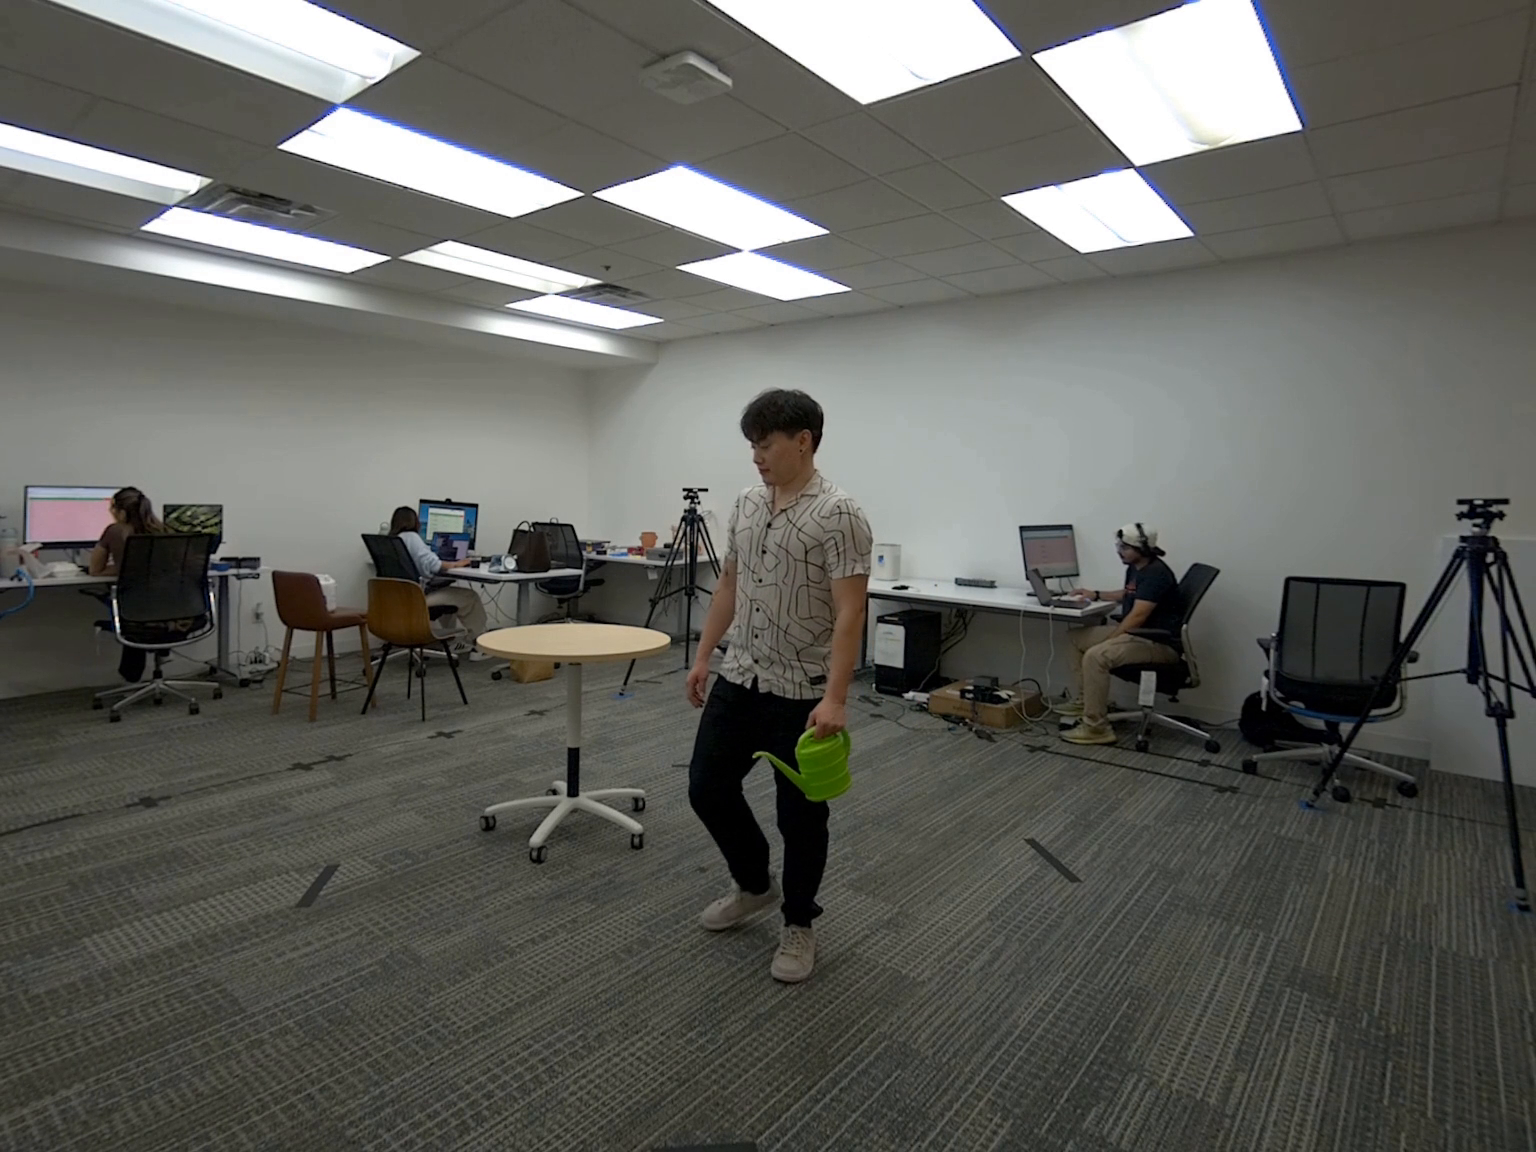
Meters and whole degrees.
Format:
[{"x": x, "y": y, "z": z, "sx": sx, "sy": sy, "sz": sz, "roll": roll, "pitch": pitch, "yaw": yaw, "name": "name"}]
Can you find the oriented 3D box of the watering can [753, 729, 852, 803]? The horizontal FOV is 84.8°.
[{"x": 0.091, "y": 0.484, "z": 2.188, "sx": 0.275, "sy": 0.176, "sz": 0.100, "roll": -16, "pitch": 6, "yaw": -14, "name": "watering can"}]
